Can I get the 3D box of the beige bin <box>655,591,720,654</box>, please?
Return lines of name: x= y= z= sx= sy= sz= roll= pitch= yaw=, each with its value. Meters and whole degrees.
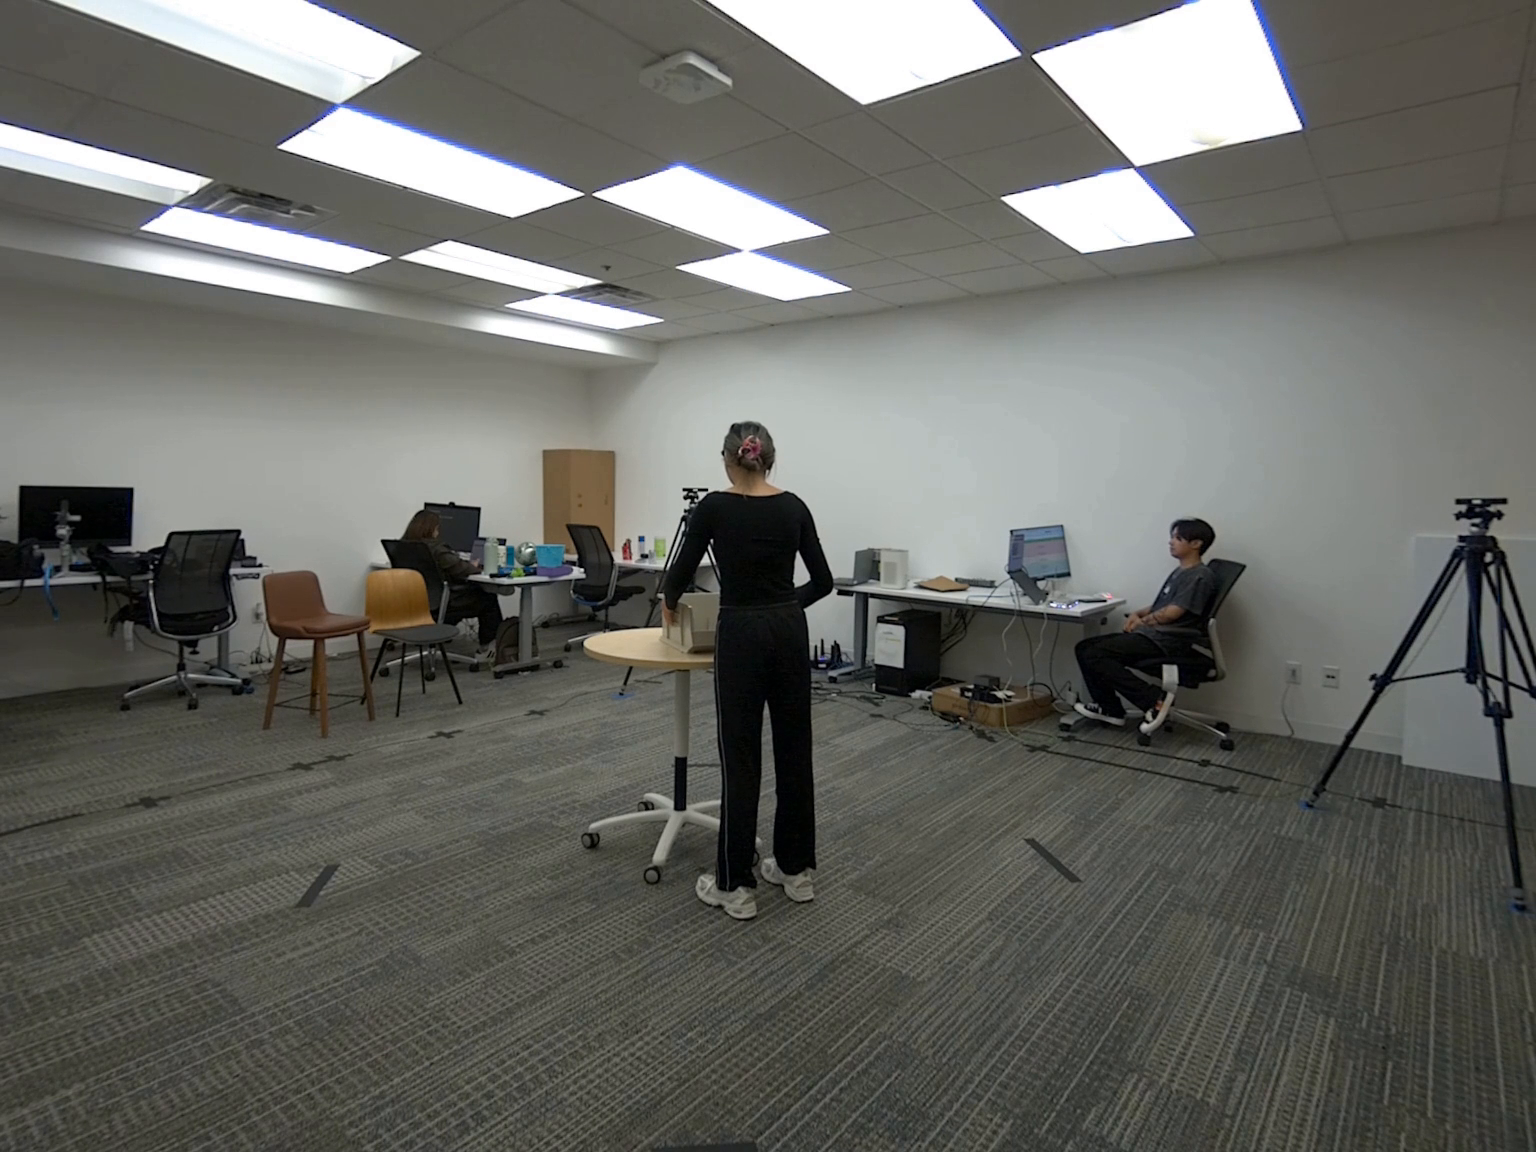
beige bin: x=-0.178 y=0.166 z=3.261 sx=0.413 sy=0.189 sz=0.386 roll=-1 pitch=3 yaw=-23
